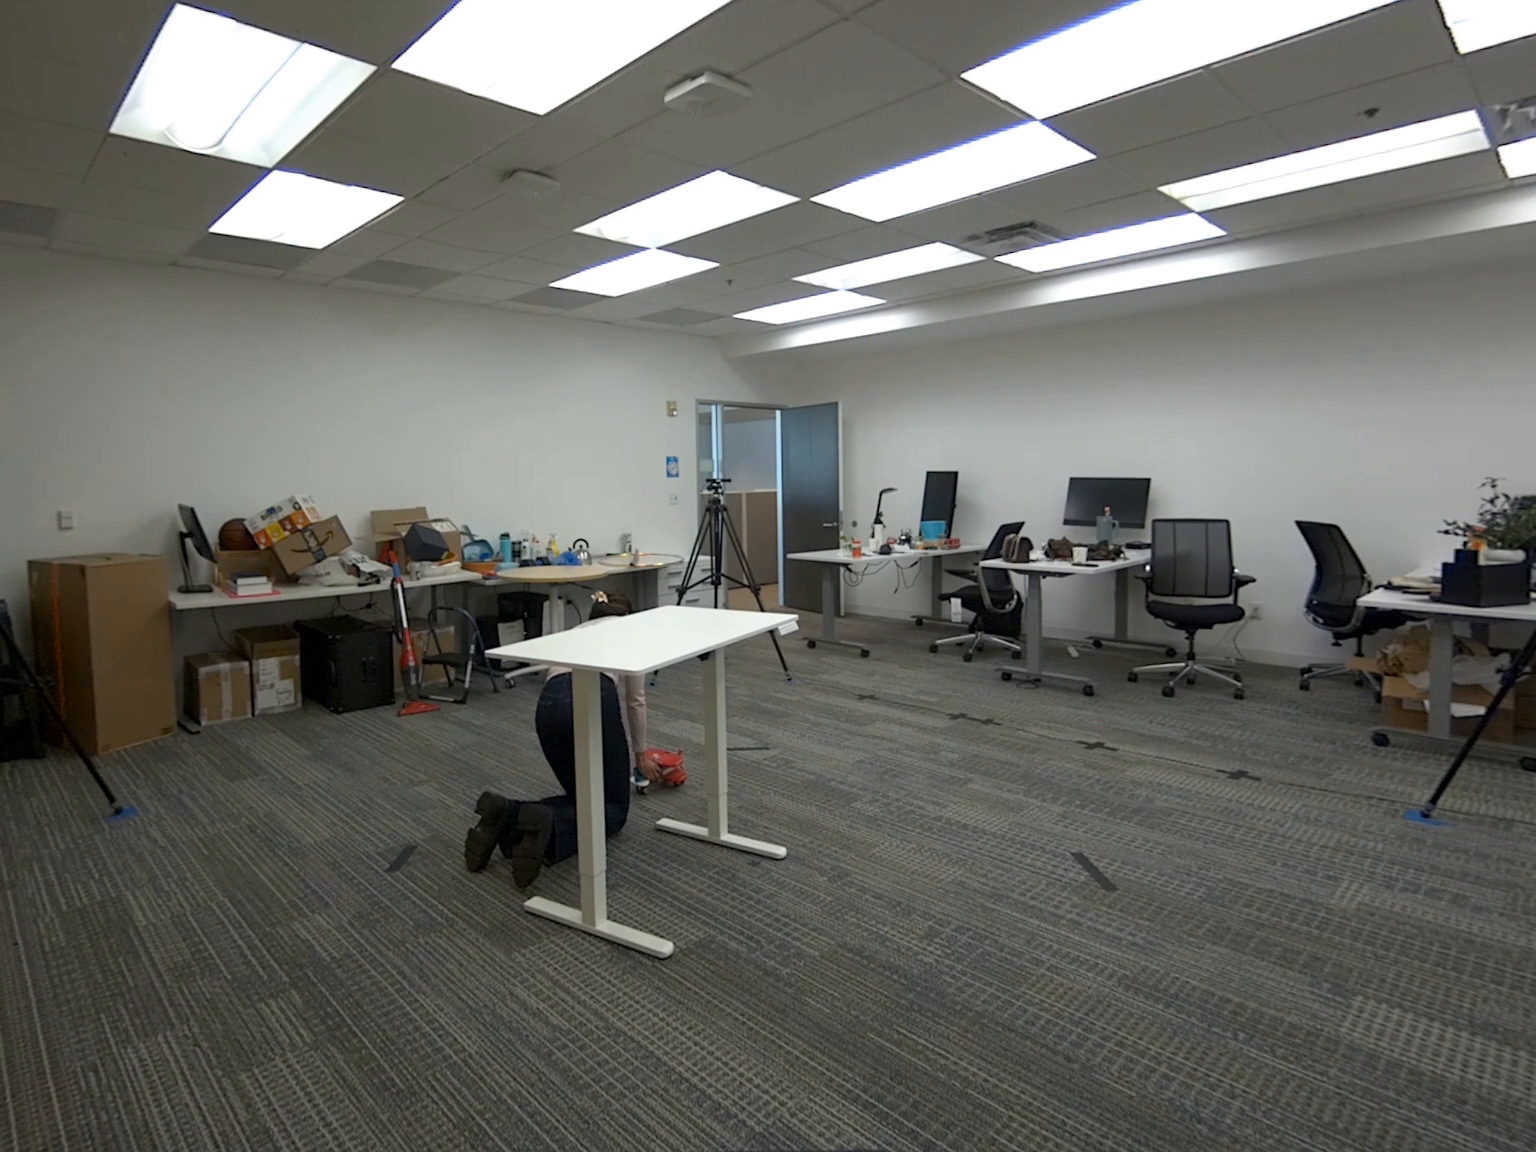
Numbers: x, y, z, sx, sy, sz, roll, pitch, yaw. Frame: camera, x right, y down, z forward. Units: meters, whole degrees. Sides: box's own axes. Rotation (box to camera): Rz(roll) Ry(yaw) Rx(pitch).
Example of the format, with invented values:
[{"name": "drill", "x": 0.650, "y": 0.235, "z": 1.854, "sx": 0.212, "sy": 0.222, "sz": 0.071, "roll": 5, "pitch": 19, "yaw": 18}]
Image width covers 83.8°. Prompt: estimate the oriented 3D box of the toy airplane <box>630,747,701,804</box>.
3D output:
[{"name": "toy airplane", "x": -0.476, "y": 0.895, "z": 3.879, "sx": 0.256, "sy": 0.156, "sz": 0.255, "roll": 0, "pitch": 4, "yaw": 19}]
